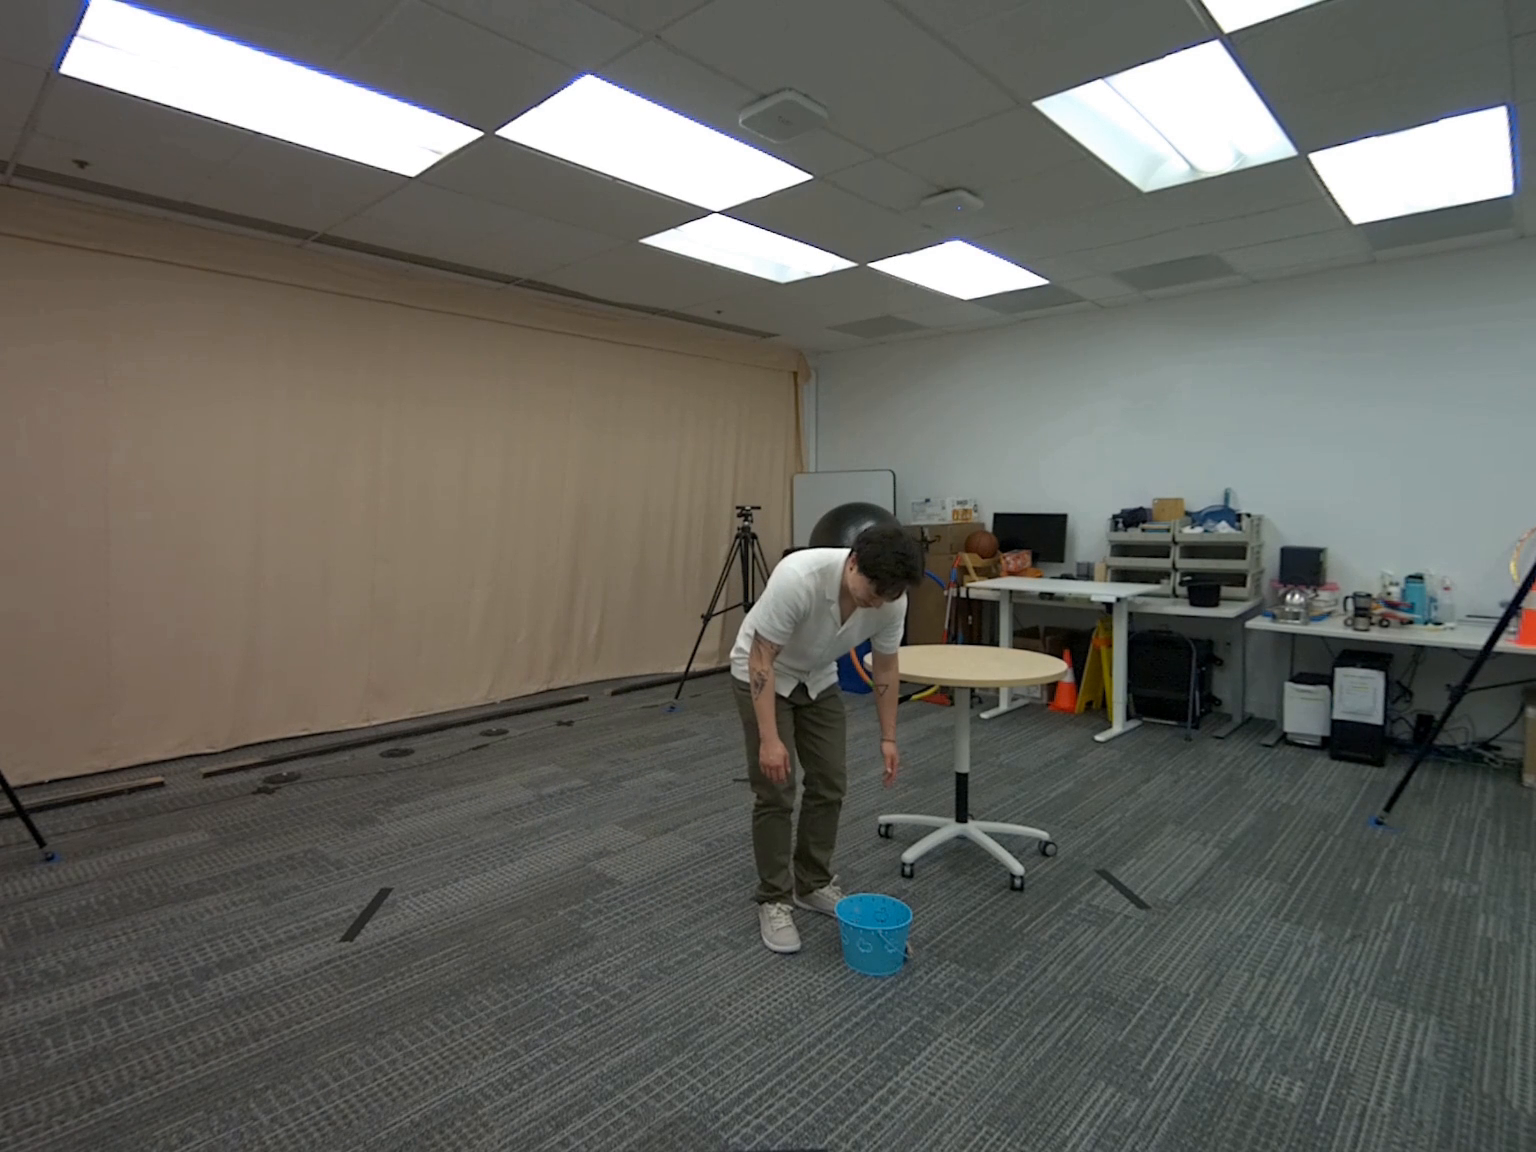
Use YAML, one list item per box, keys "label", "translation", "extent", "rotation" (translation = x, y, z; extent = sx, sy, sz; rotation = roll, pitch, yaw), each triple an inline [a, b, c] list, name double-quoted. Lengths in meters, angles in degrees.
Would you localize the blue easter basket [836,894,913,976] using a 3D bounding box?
- label: "blue easter basket"
  translation: [0.331, 1.096, 2.582]
  extent: [0.243, 0.155, 0.244]
  rotation: [0, 5, -2]
